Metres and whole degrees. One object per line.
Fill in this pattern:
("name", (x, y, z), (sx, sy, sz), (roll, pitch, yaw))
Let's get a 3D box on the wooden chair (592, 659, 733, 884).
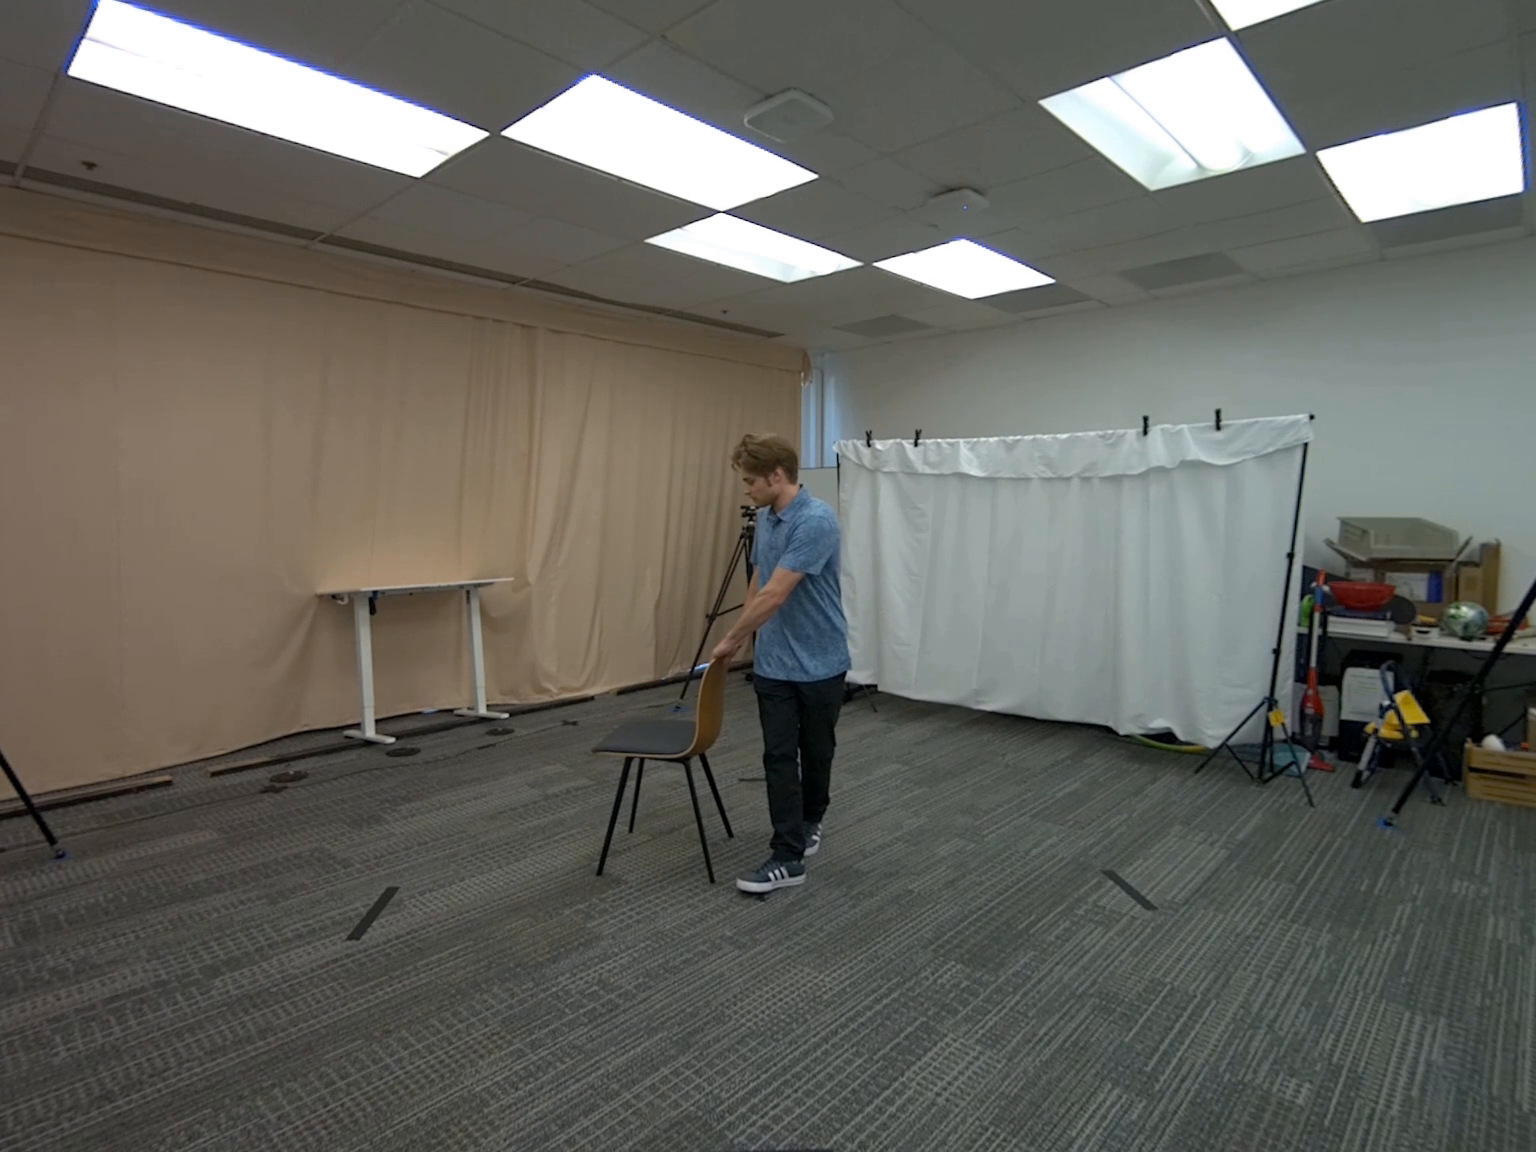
("wooden chair", (-0.407, 0.690, 3.329), (0.528, 0.875, 0.475), (5, 4, 8))
